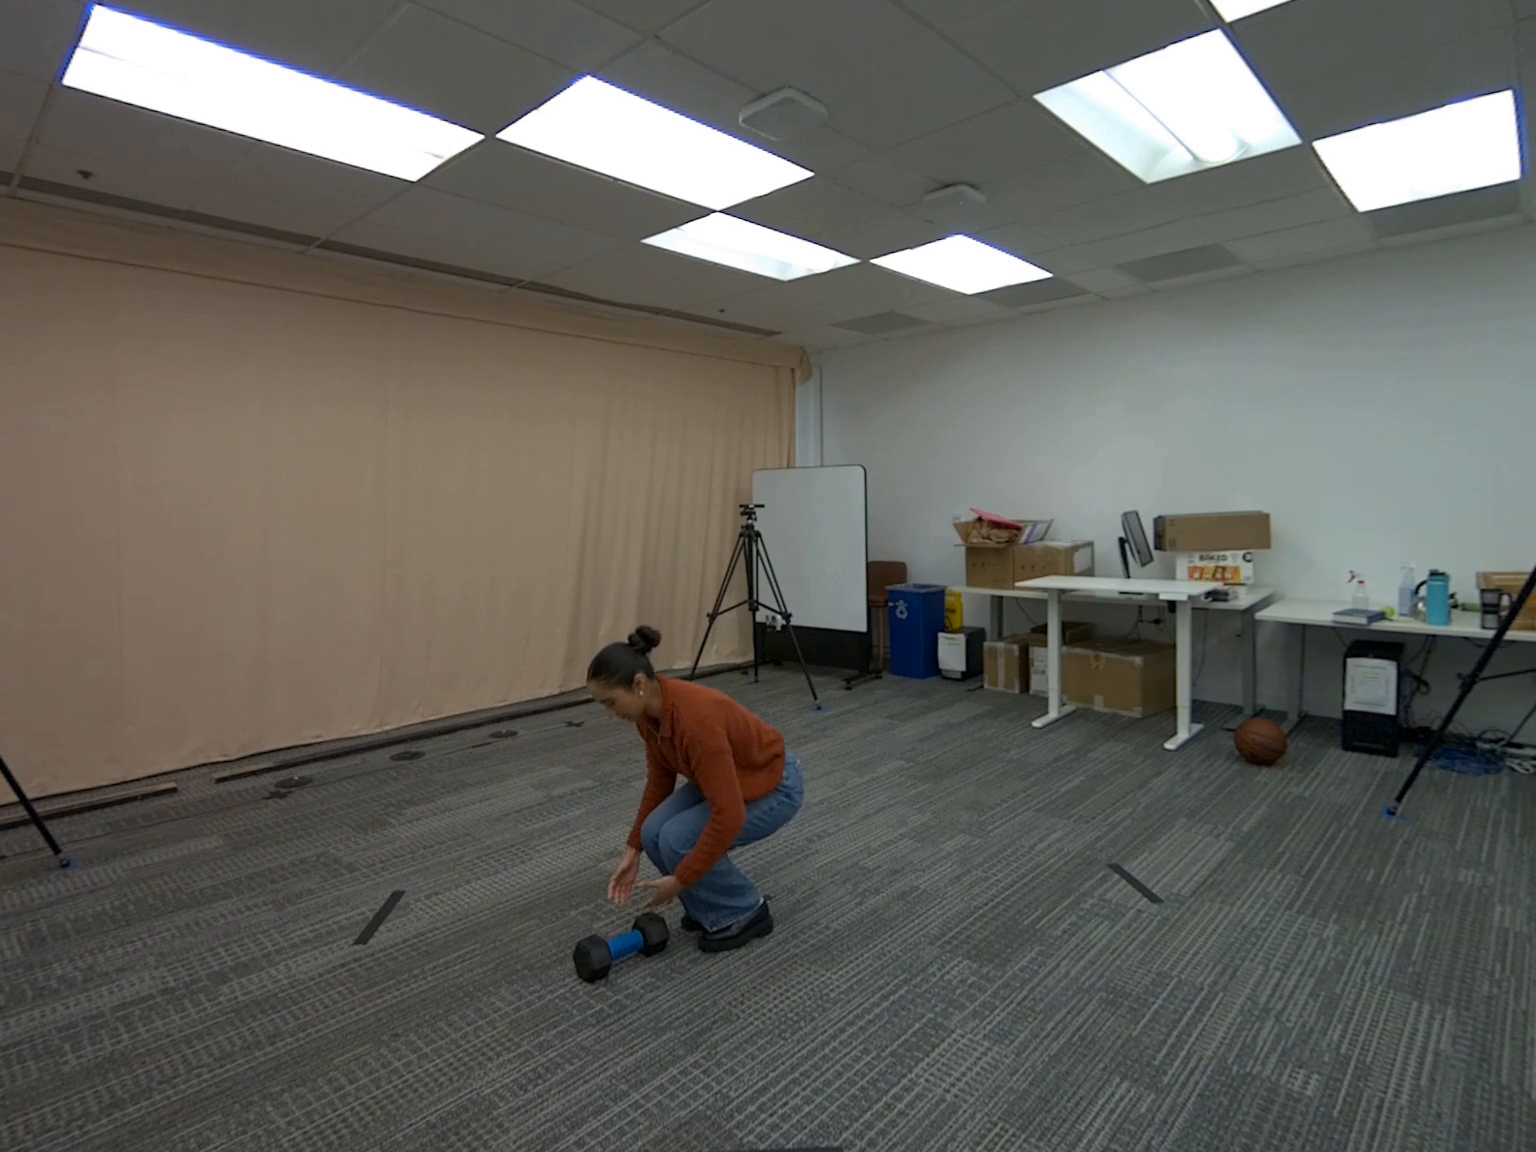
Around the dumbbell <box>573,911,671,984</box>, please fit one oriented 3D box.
[{"bbox_3d":[-0.448,1.134,2.572,0.285,0.122,0.112,-5,36,-43],"label":"dumbbell"}]
